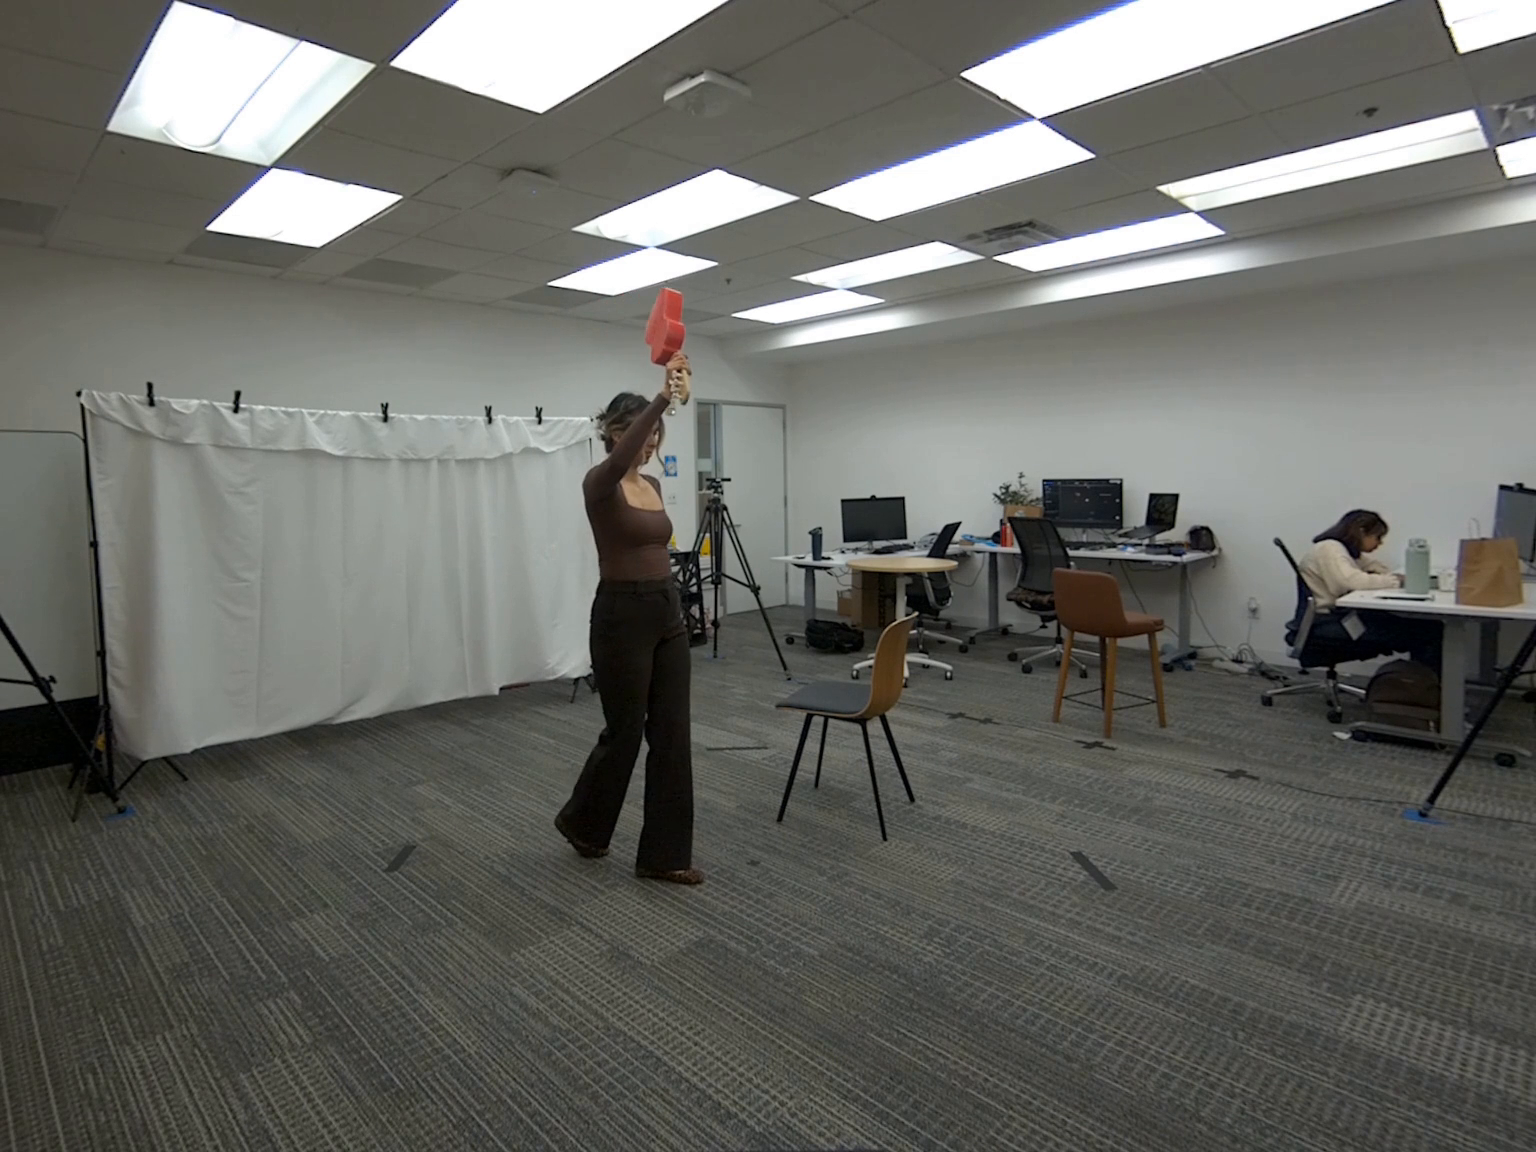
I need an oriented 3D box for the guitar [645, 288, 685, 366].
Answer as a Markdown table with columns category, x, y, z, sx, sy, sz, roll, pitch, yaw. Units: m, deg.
| category | x | y | z | sx | sy | sz | roll | pitch | yaw |
| --- | --- | --- | --- | --- | --- | --- | --- | --- | --- |
| guitar | -0.293 | -0.723 | 2.655 | 0.069 | 0.191 | 0.515 | 11 | 34 | -24 |
